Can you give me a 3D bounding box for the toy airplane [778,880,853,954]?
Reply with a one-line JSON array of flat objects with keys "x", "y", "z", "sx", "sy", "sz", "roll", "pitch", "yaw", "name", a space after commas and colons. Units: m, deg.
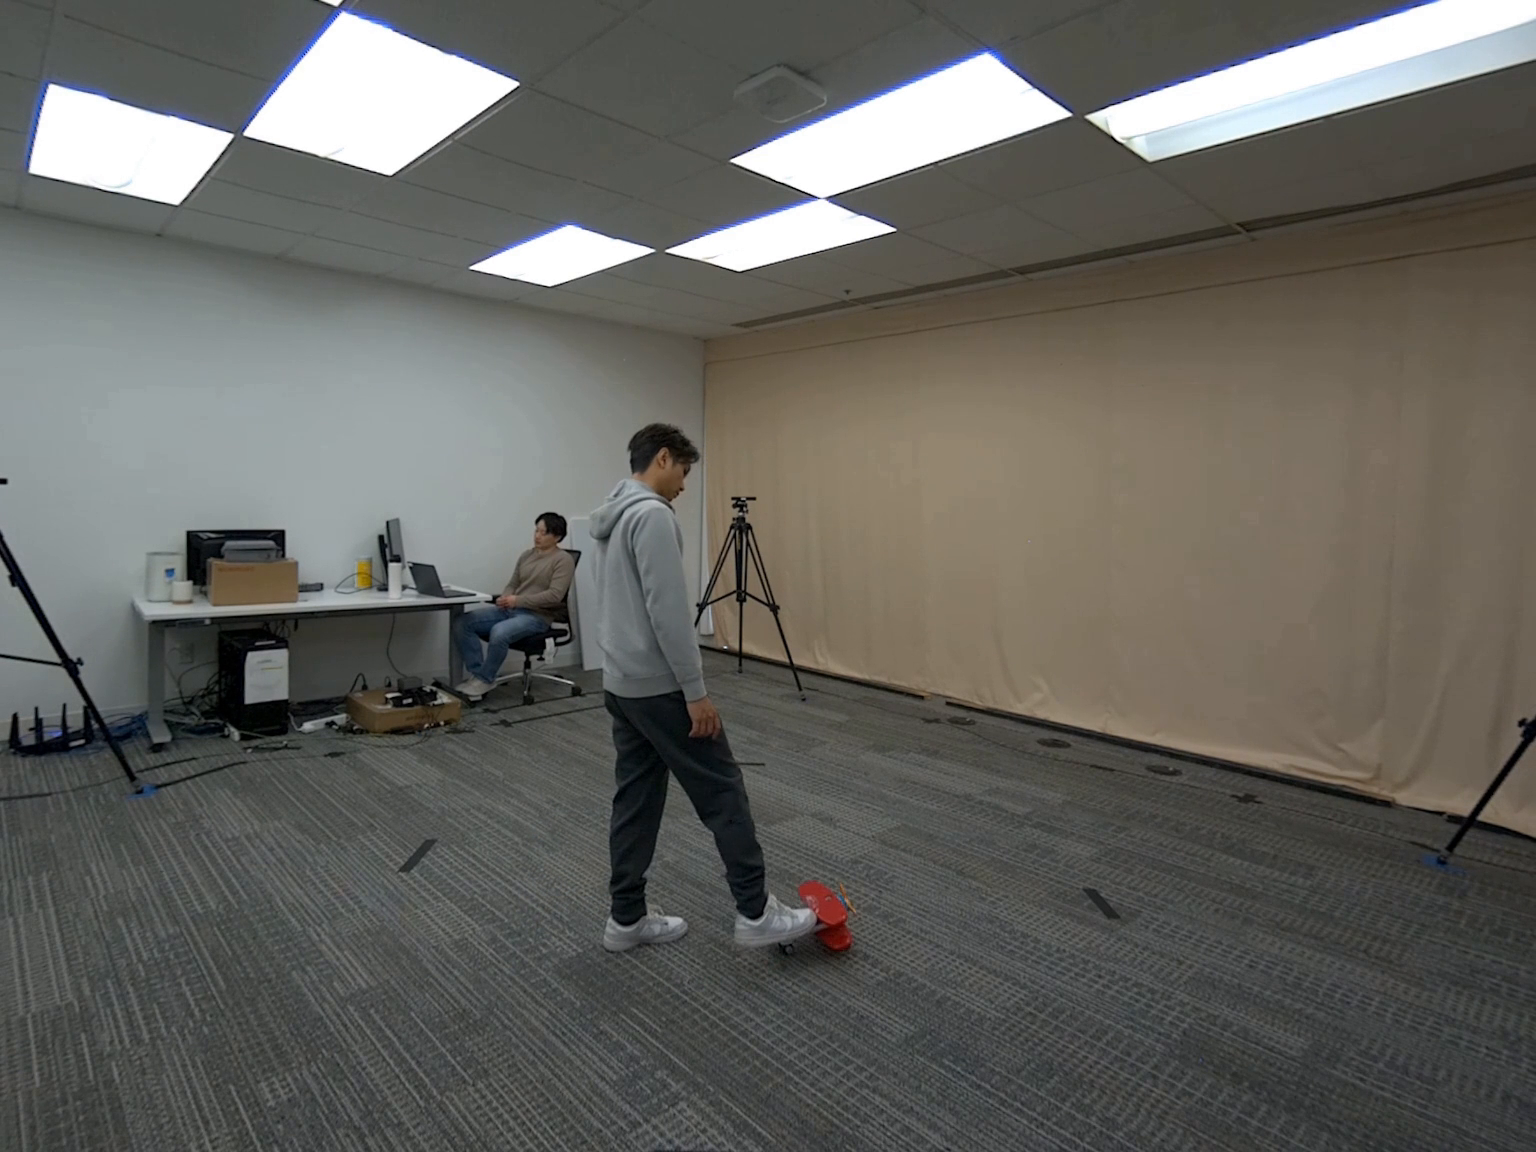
[{"x": 0.142, "y": 1.085, "z": 2.609, "sx": 0.258, "sy": 0.156, "sz": 0.253, "roll": 7, "pitch": 7, "yaw": 42, "name": "toy airplane"}]
